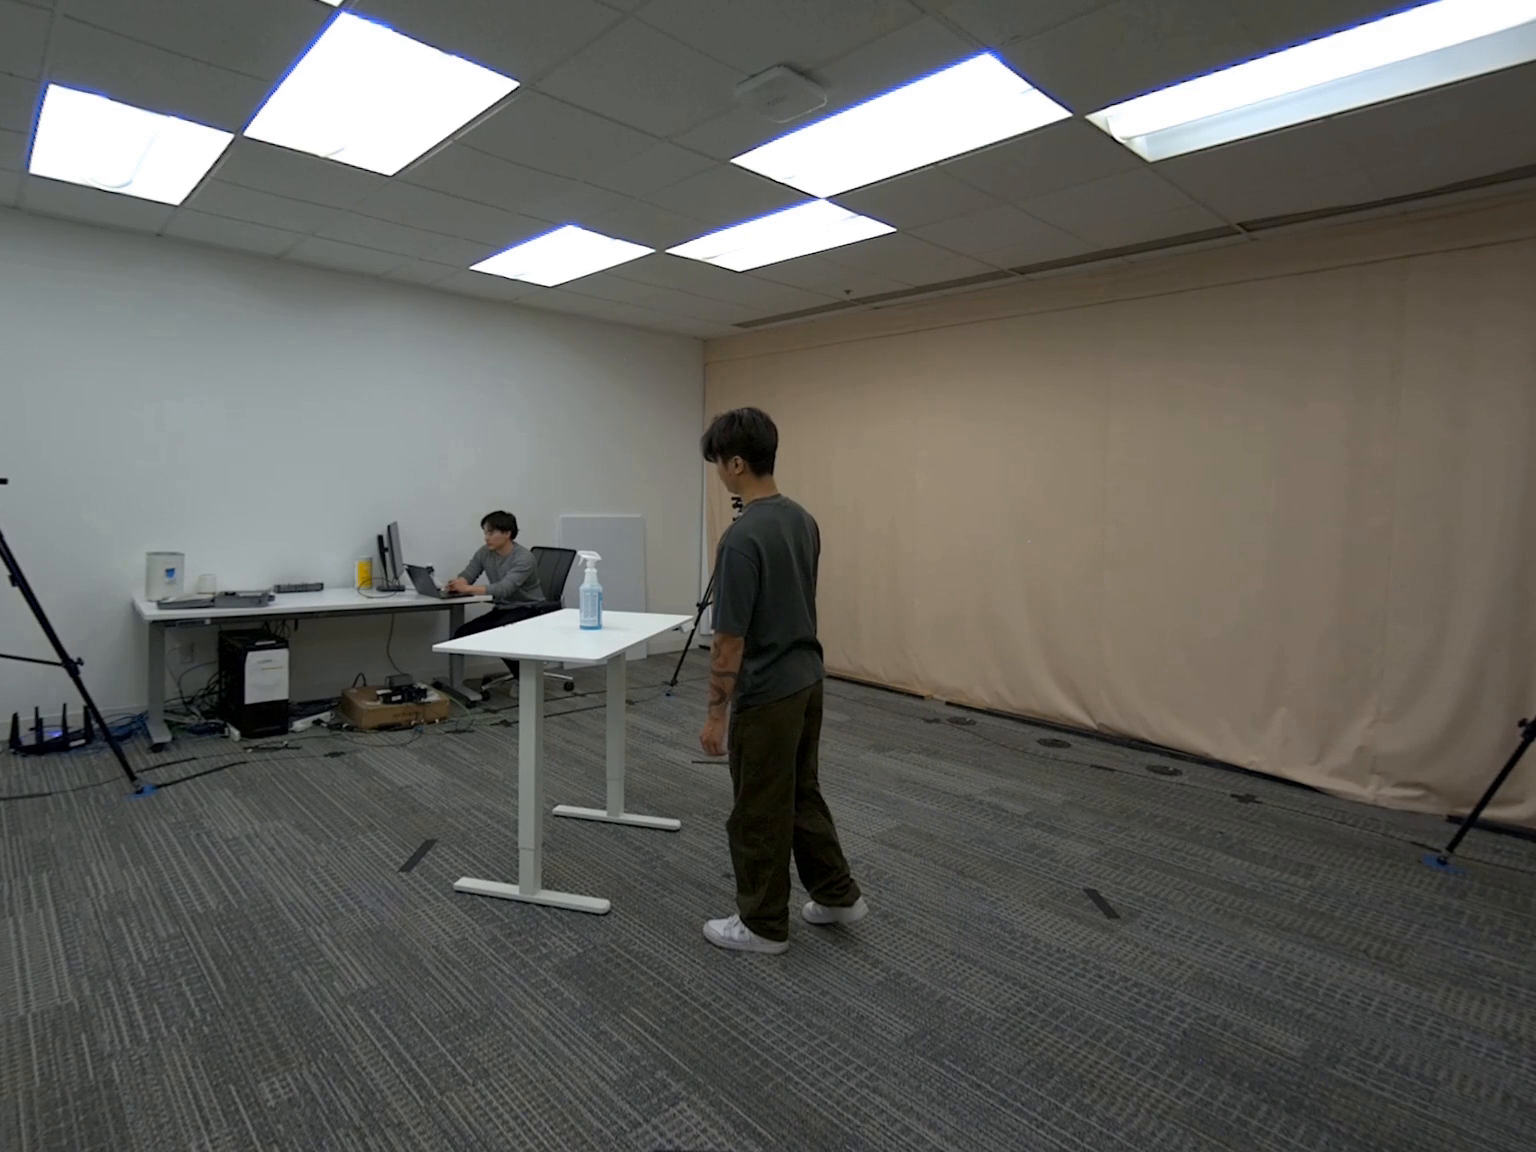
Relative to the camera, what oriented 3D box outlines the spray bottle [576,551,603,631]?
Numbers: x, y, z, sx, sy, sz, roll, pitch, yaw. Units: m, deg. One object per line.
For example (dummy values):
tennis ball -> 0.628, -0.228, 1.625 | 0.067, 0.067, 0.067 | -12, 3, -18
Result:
spray bottle -> -0.687, 0.056, 3.222 | 0.092, 0.297, 0.085 | 2, 3, 31
